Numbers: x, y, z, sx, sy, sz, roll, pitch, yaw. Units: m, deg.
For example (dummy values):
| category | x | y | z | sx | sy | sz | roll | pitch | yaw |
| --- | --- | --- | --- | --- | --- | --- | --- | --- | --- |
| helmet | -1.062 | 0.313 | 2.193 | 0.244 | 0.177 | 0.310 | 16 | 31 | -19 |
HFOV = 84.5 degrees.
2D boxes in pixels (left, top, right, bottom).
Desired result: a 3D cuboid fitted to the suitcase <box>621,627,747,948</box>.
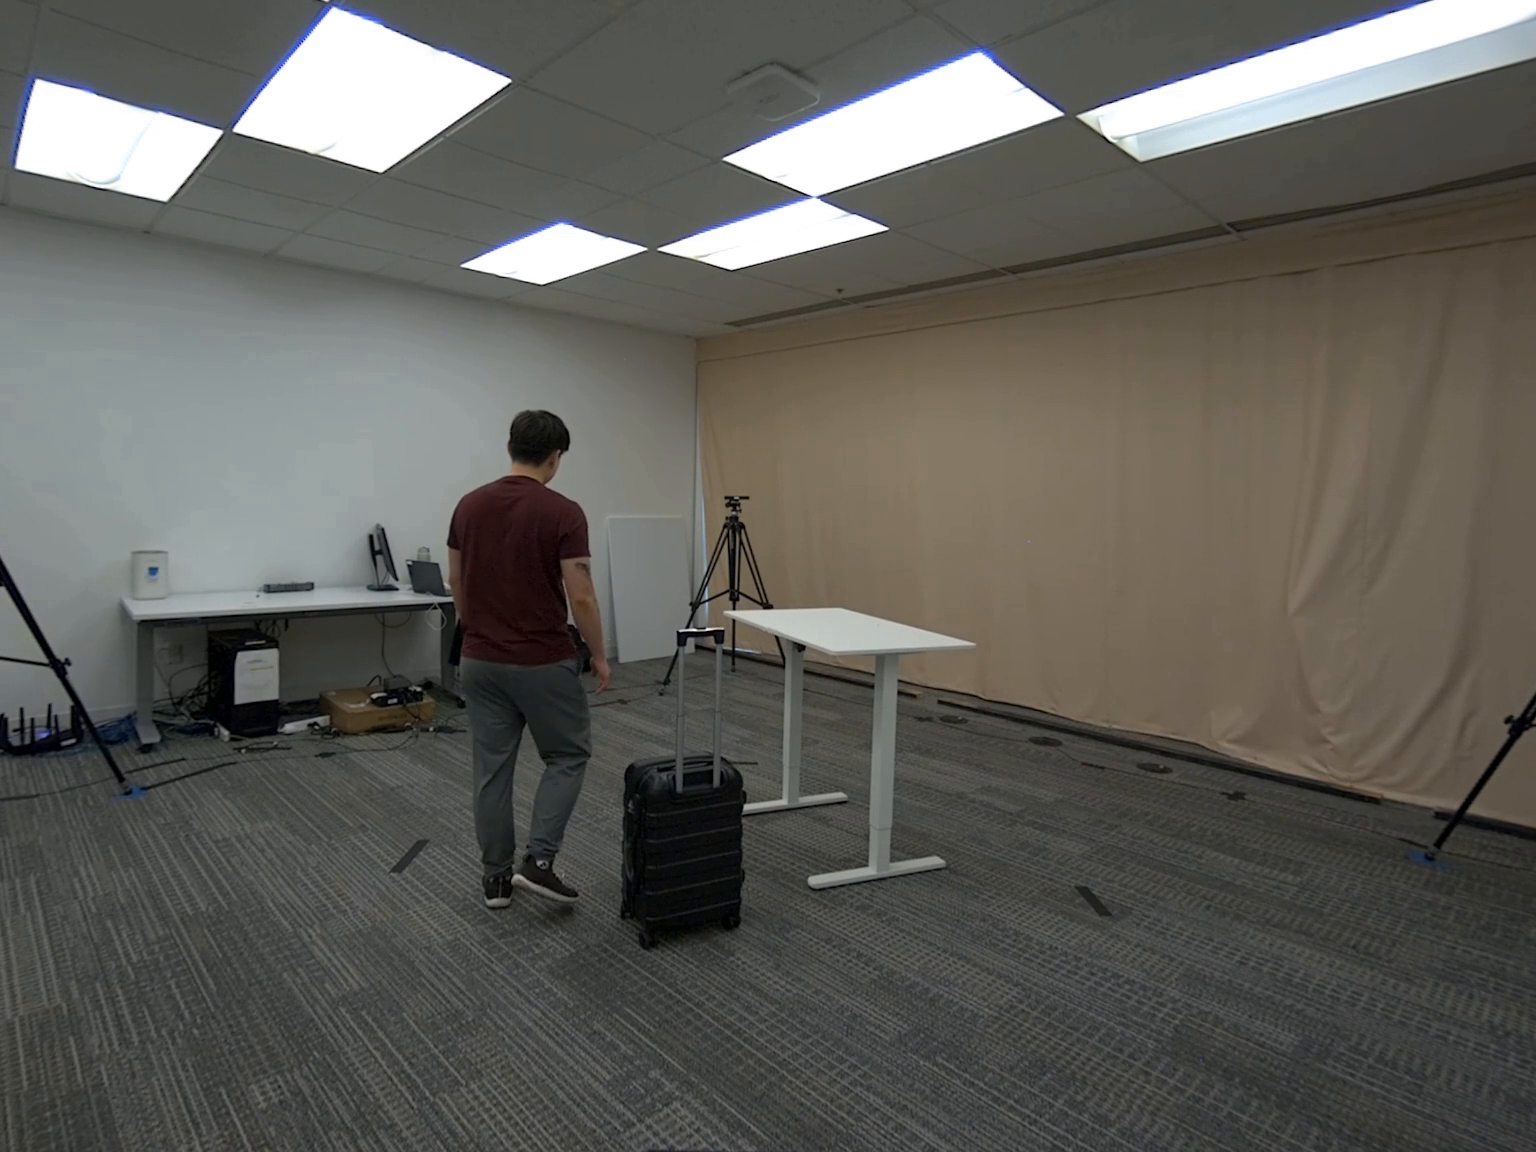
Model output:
| category | x | y | z | sx | sy | sz | roll | pitch | yaw |
| --- | --- | --- | --- | --- | --- | --- | --- | --- | --- |
| suitcase | -0.278 | 0.658 | 2.708 | 0.377 | 0.977 | 0.262 | 1 | 2 | -24 |
